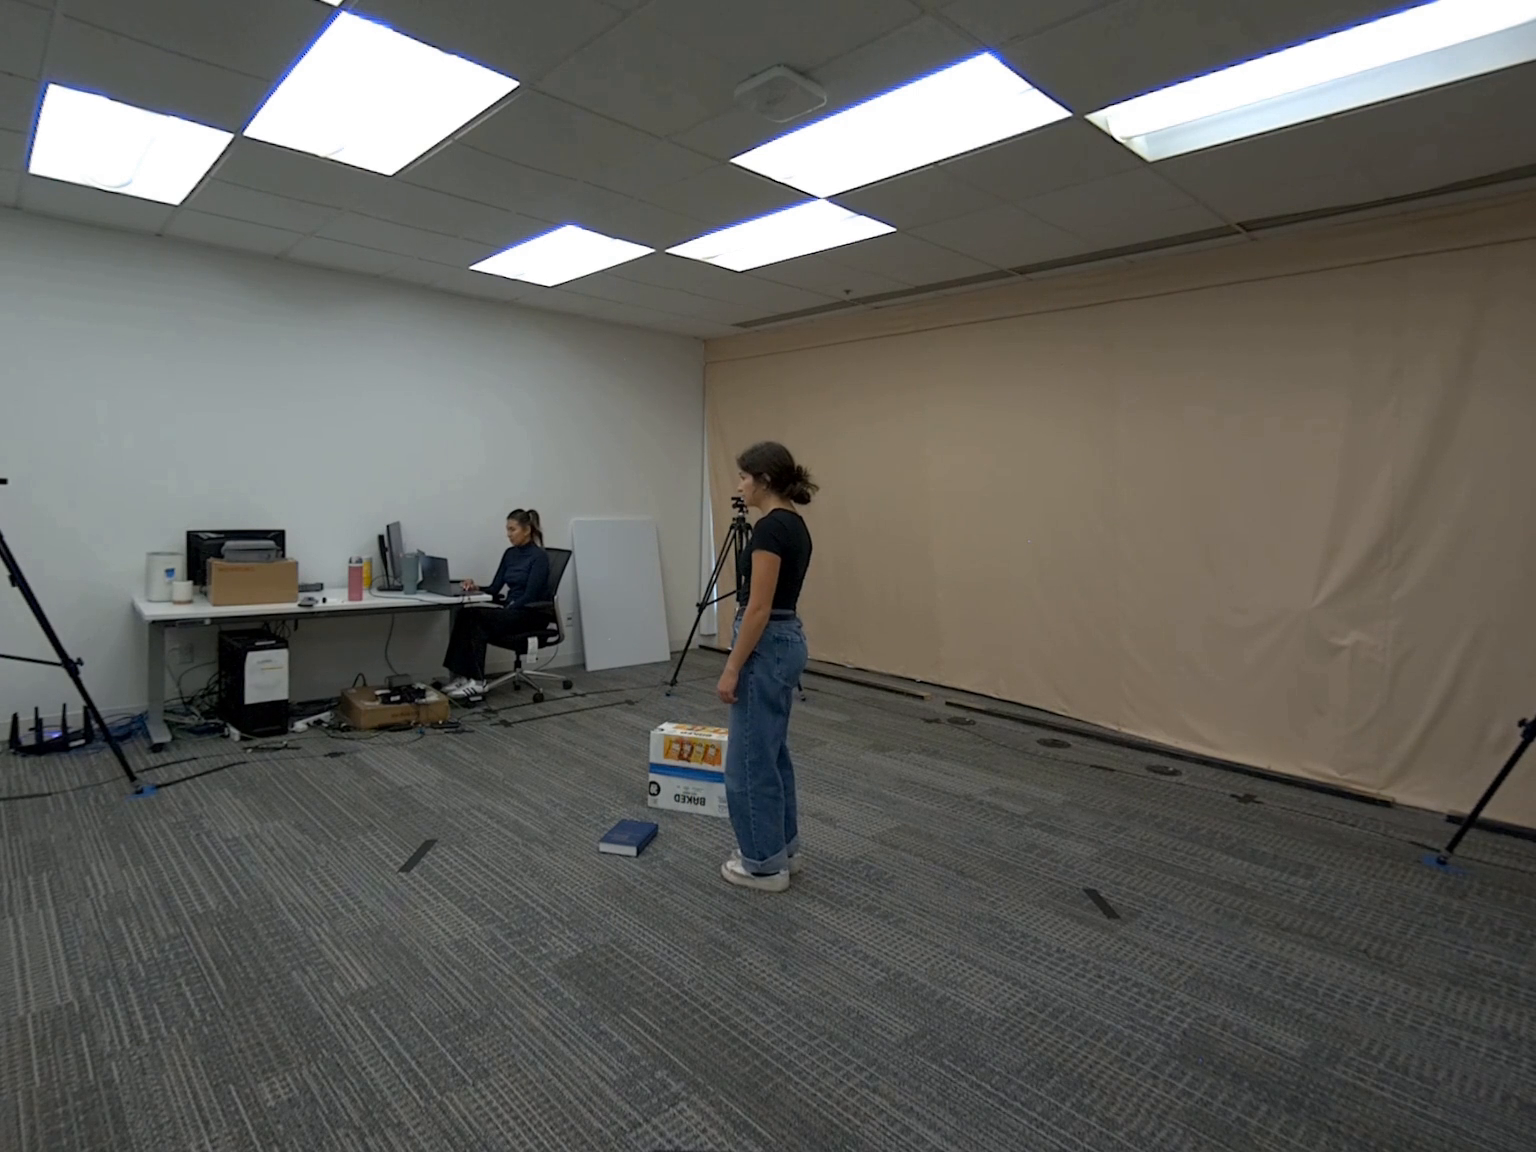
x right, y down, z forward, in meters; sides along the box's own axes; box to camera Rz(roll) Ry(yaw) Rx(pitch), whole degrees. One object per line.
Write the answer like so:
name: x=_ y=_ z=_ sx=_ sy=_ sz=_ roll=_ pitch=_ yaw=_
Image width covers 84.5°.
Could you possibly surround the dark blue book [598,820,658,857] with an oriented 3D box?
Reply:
dark blue book: x=-0.569 y=1.048 z=3.375 sx=0.165 sy=0.045 sz=0.243 roll=2 pitch=6 yaw=13
